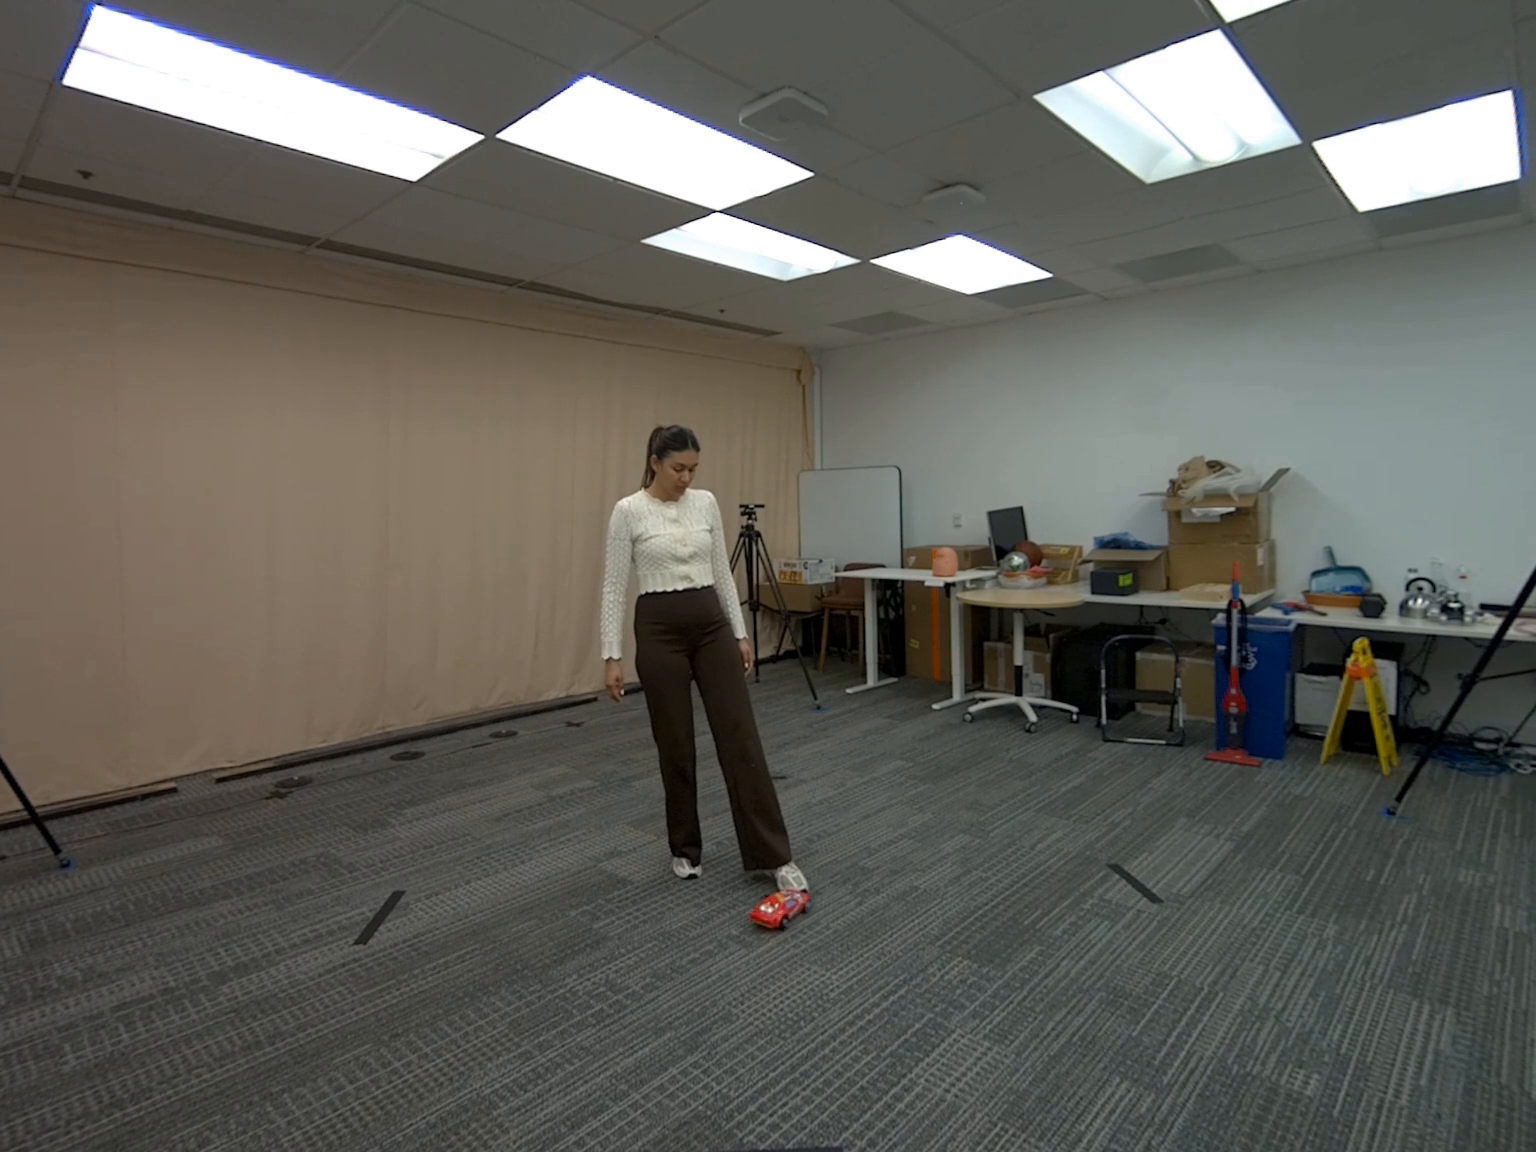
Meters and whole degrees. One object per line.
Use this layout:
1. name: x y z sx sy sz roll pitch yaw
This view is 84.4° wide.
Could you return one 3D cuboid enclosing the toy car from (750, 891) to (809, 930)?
1. toy car: 0.031 1.115 2.827 0.134 0.083 0.246 3 -5 37
